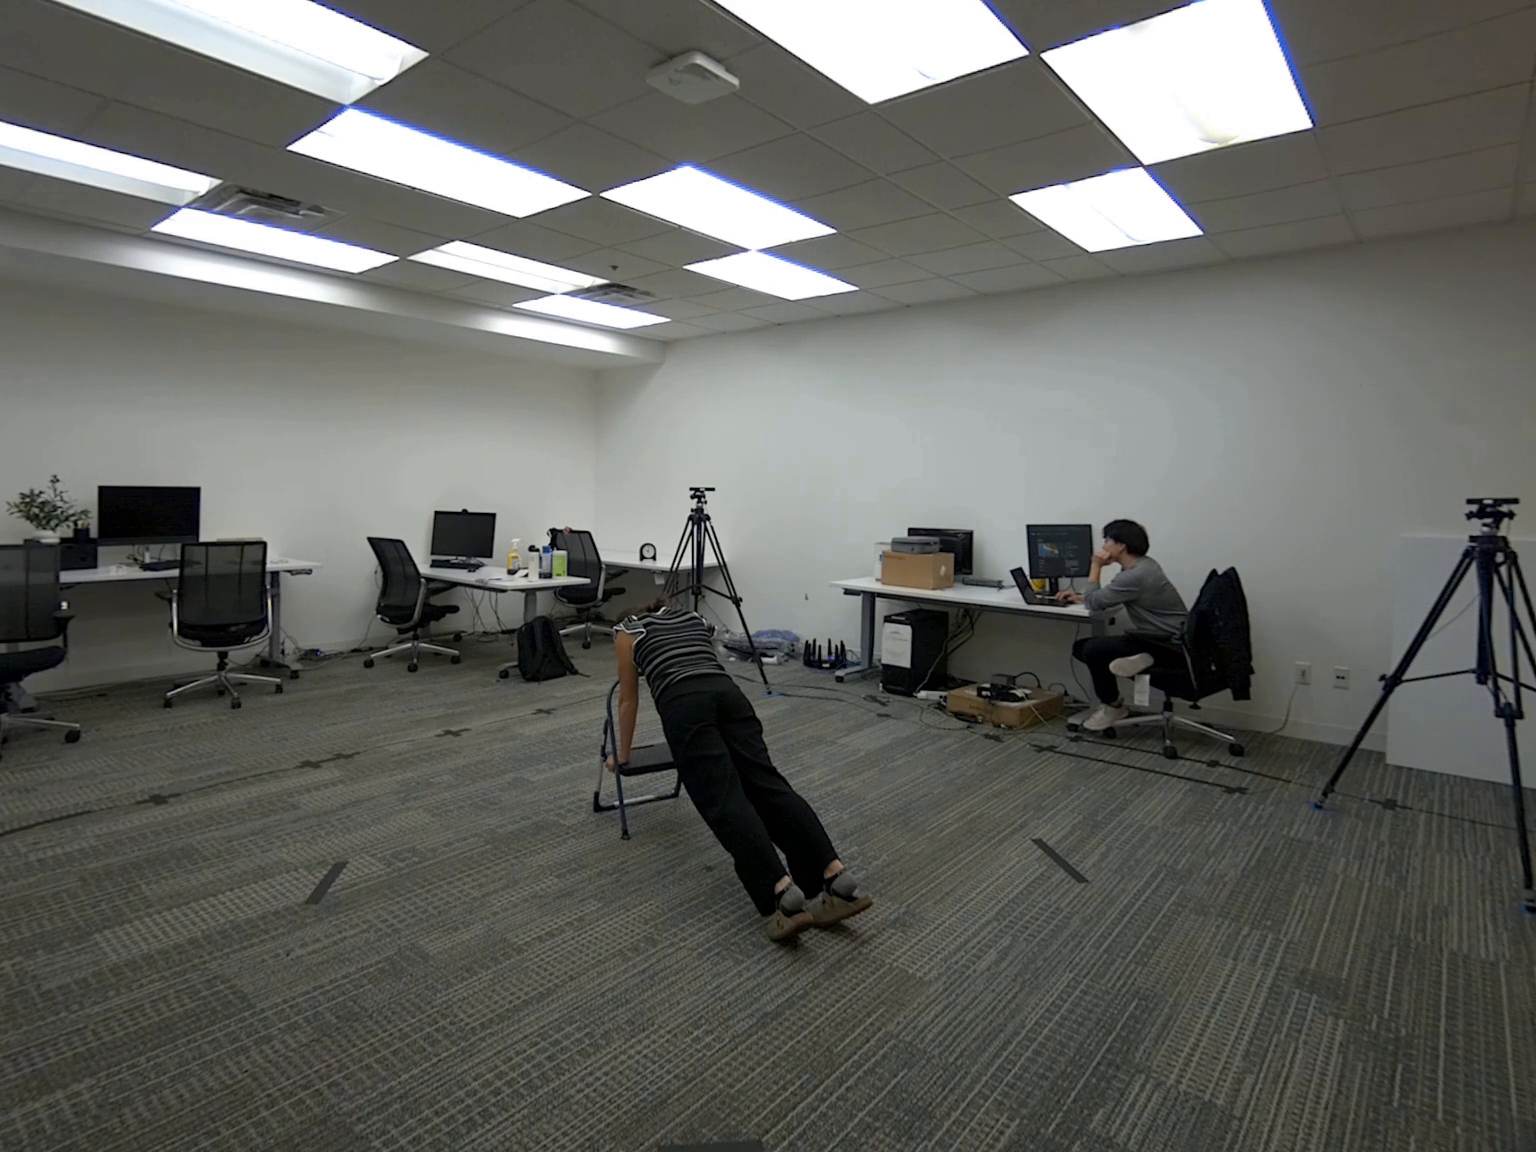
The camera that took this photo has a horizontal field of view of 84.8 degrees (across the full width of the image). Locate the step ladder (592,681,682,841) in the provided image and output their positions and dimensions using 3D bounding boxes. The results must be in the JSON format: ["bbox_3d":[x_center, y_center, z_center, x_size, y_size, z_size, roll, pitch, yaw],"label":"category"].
[{"bbox_3d":[-0.496,0.713,3.594,0.418,0.605,0.360,-1,3,-33],"label":"step ladder"}]
